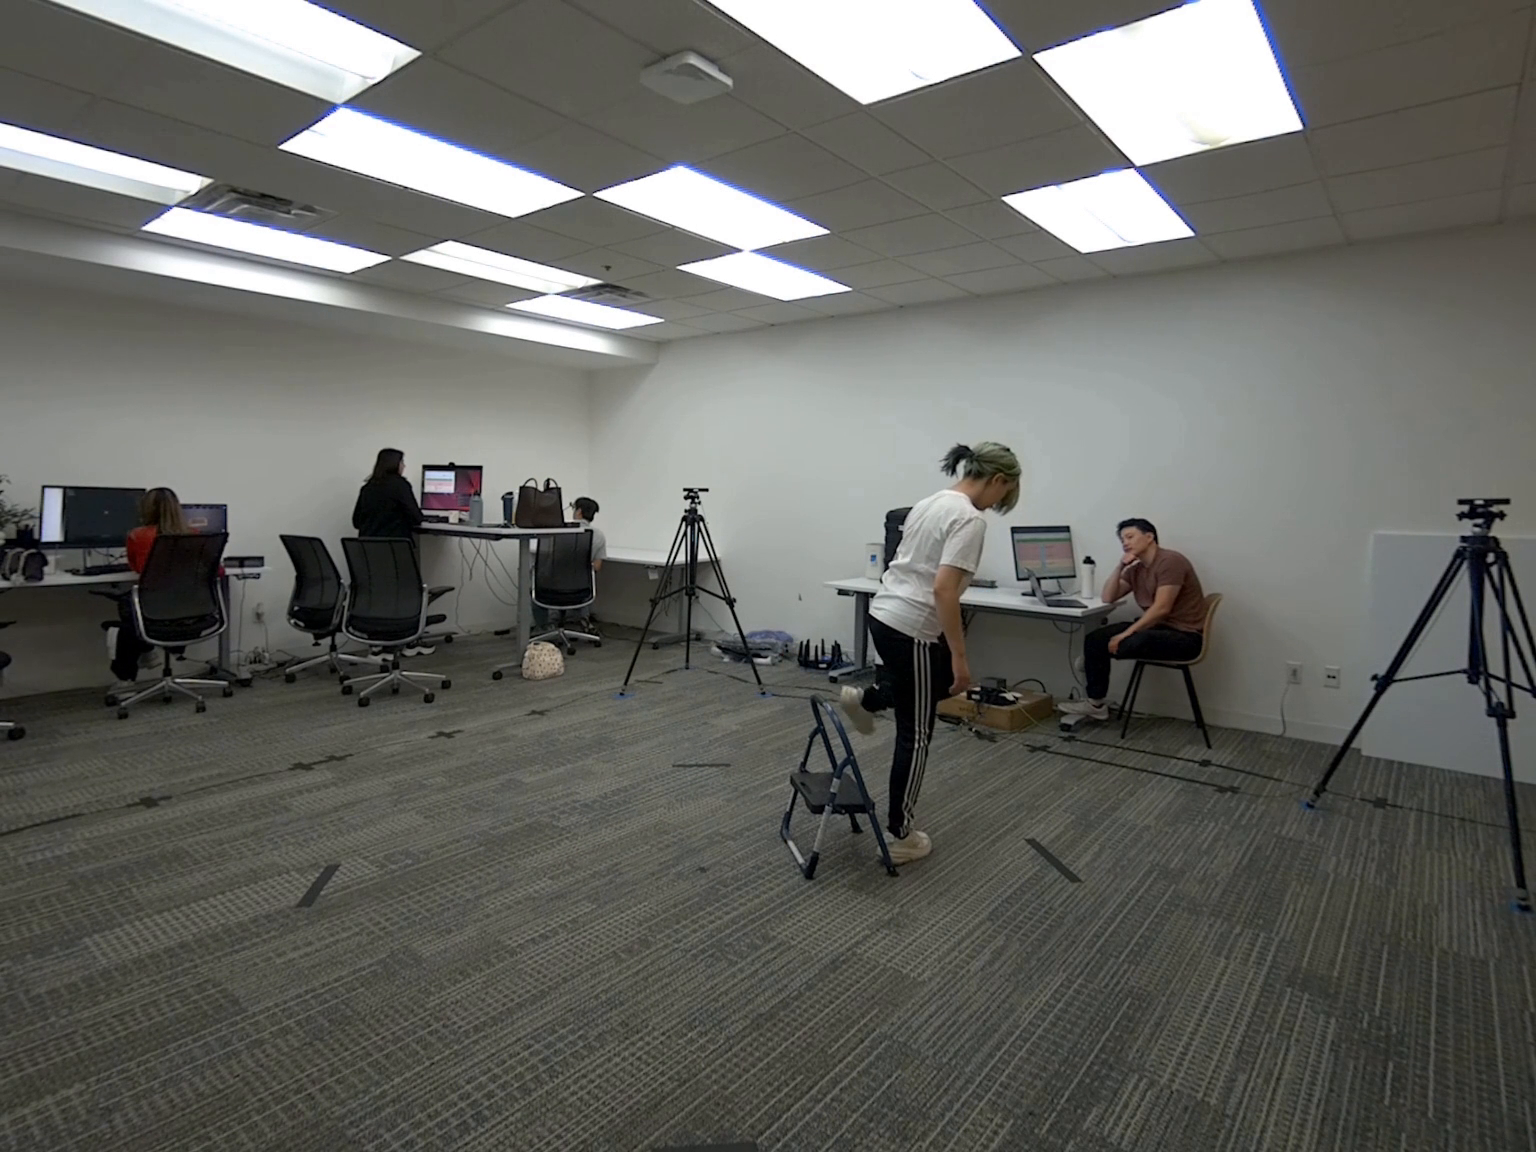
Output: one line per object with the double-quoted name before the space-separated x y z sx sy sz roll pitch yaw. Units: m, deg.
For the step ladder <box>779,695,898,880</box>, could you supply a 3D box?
"step ladder" 0.260 0.765 3.254 0.345 0.604 0.437 1 4 -12
